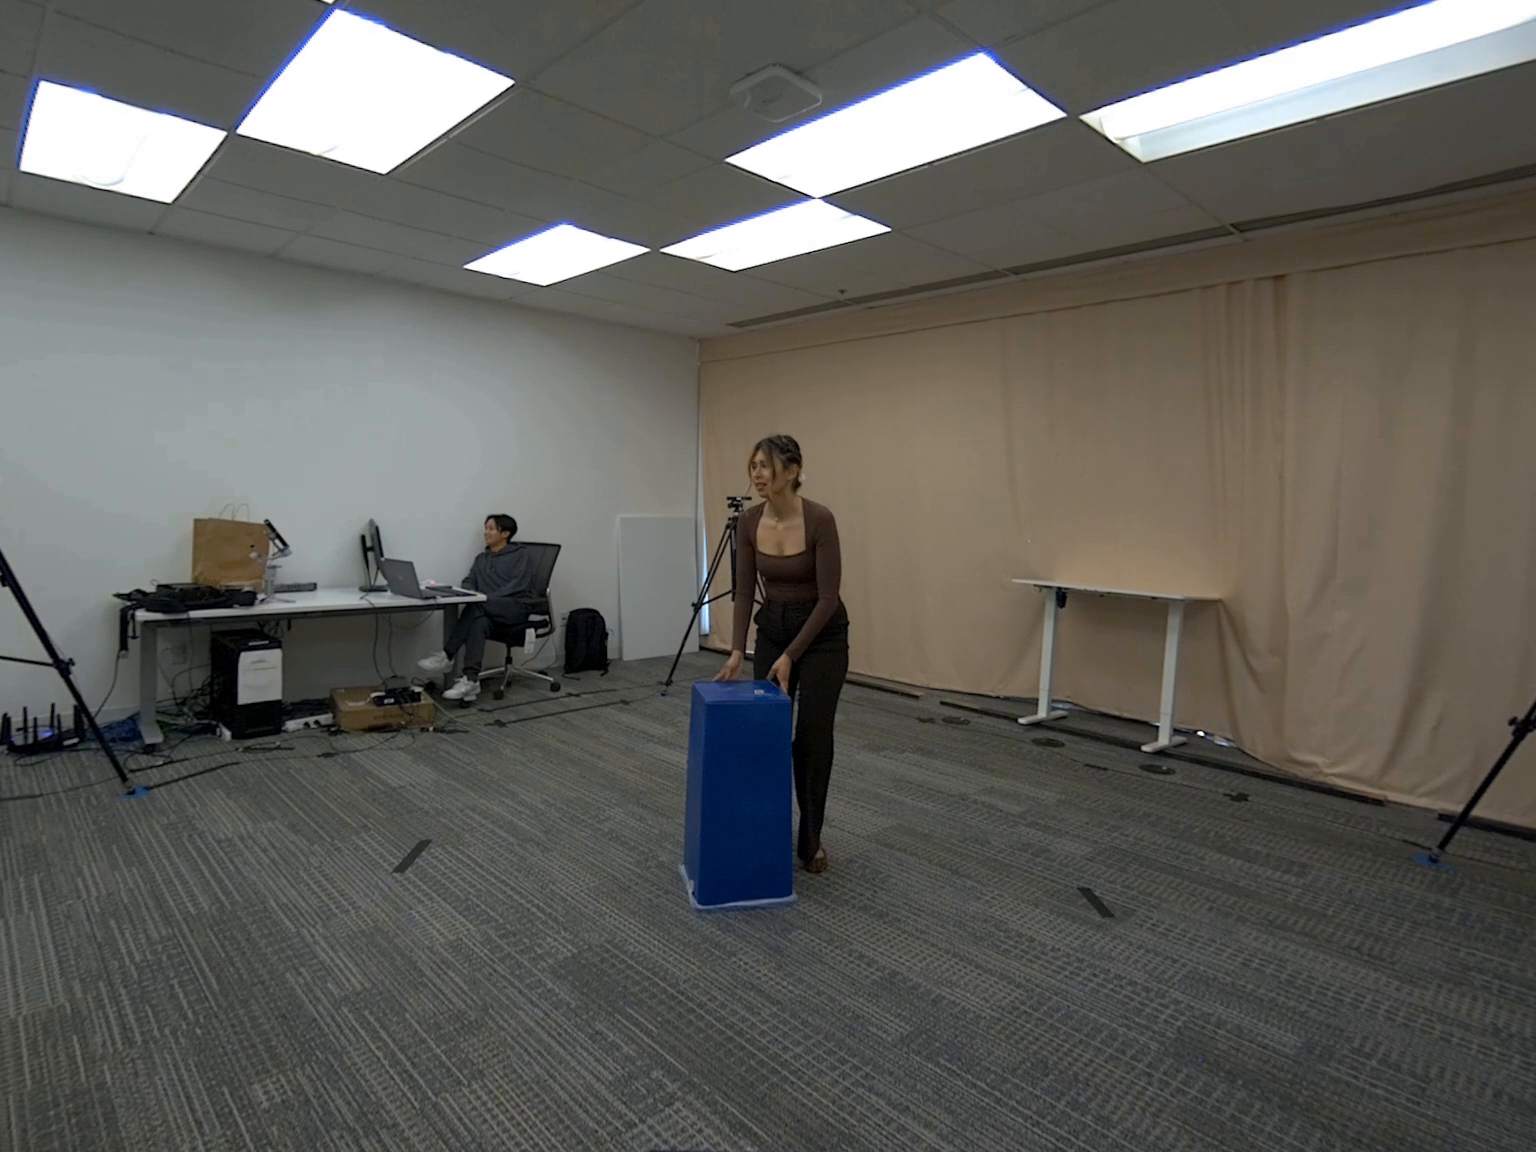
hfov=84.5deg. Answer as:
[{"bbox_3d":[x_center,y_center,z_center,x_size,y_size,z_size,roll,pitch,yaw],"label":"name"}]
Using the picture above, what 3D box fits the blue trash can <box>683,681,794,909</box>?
[{"bbox_3d":[-0.107,0.763,3.006,0.370,0.712,0.383,2,3,-14],"label":"blue trash can"}]
